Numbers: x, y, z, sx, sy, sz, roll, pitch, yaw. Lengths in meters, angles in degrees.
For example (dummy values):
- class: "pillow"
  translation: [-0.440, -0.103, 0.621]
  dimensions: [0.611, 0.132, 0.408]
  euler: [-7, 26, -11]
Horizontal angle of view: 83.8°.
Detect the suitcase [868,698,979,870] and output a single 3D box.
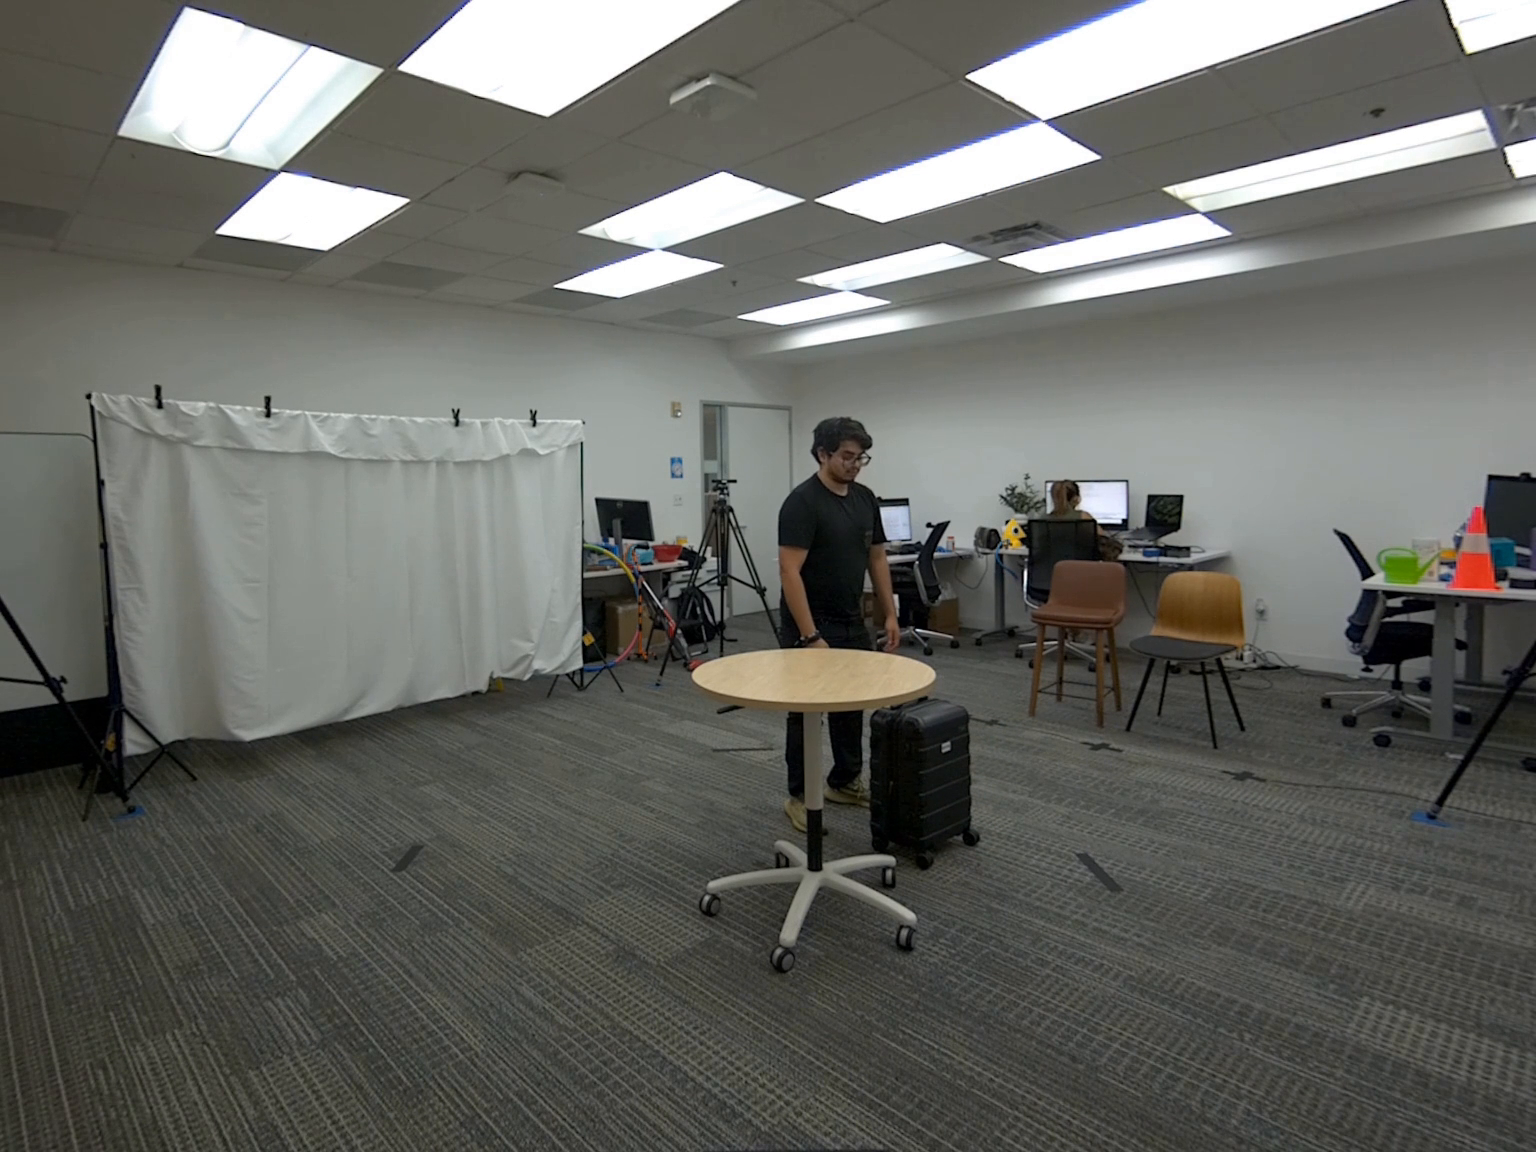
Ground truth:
- class: "suitcase"
  translation: [0.588, 0.747, 3.220]
  dimensions: [0.365, 0.548, 0.255]
  euler: [-4, 3, -42]
